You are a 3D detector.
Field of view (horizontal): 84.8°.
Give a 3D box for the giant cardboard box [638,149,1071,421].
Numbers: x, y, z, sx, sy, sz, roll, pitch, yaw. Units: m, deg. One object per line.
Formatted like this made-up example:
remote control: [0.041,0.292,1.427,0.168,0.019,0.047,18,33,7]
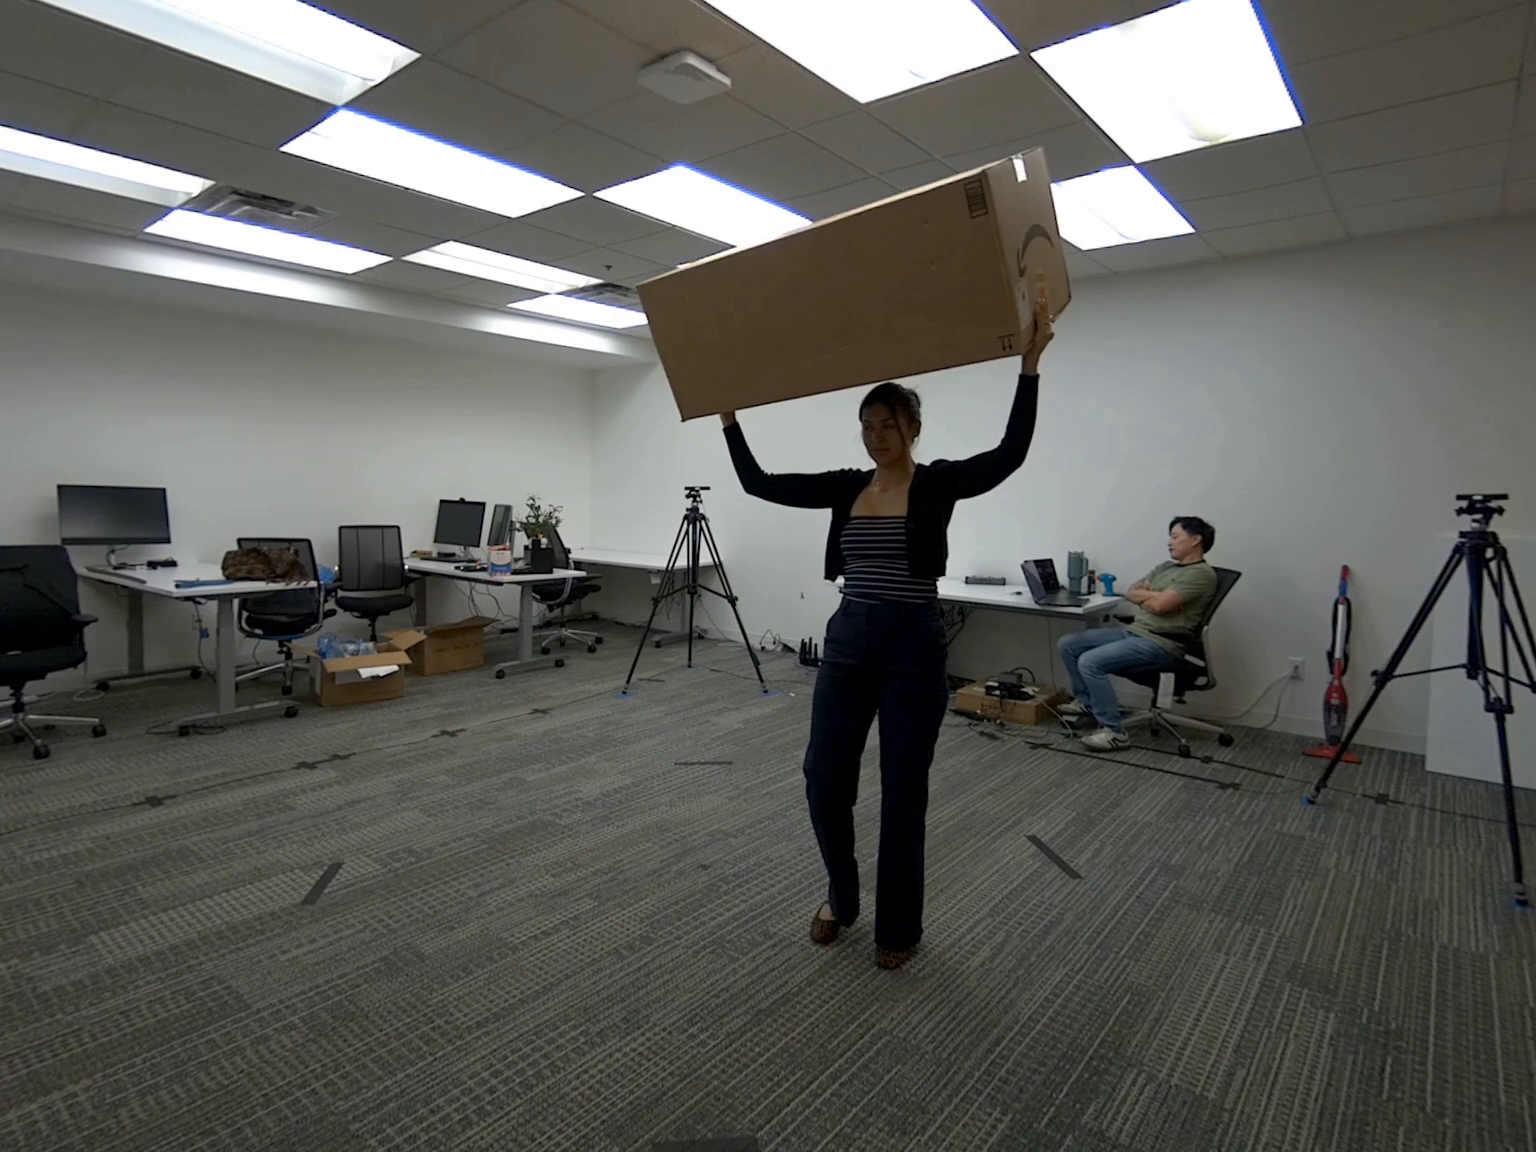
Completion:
giant cardboard box: [0.227,-0.801,2.435,1.055,0.416,0.575,-3,25,35]
